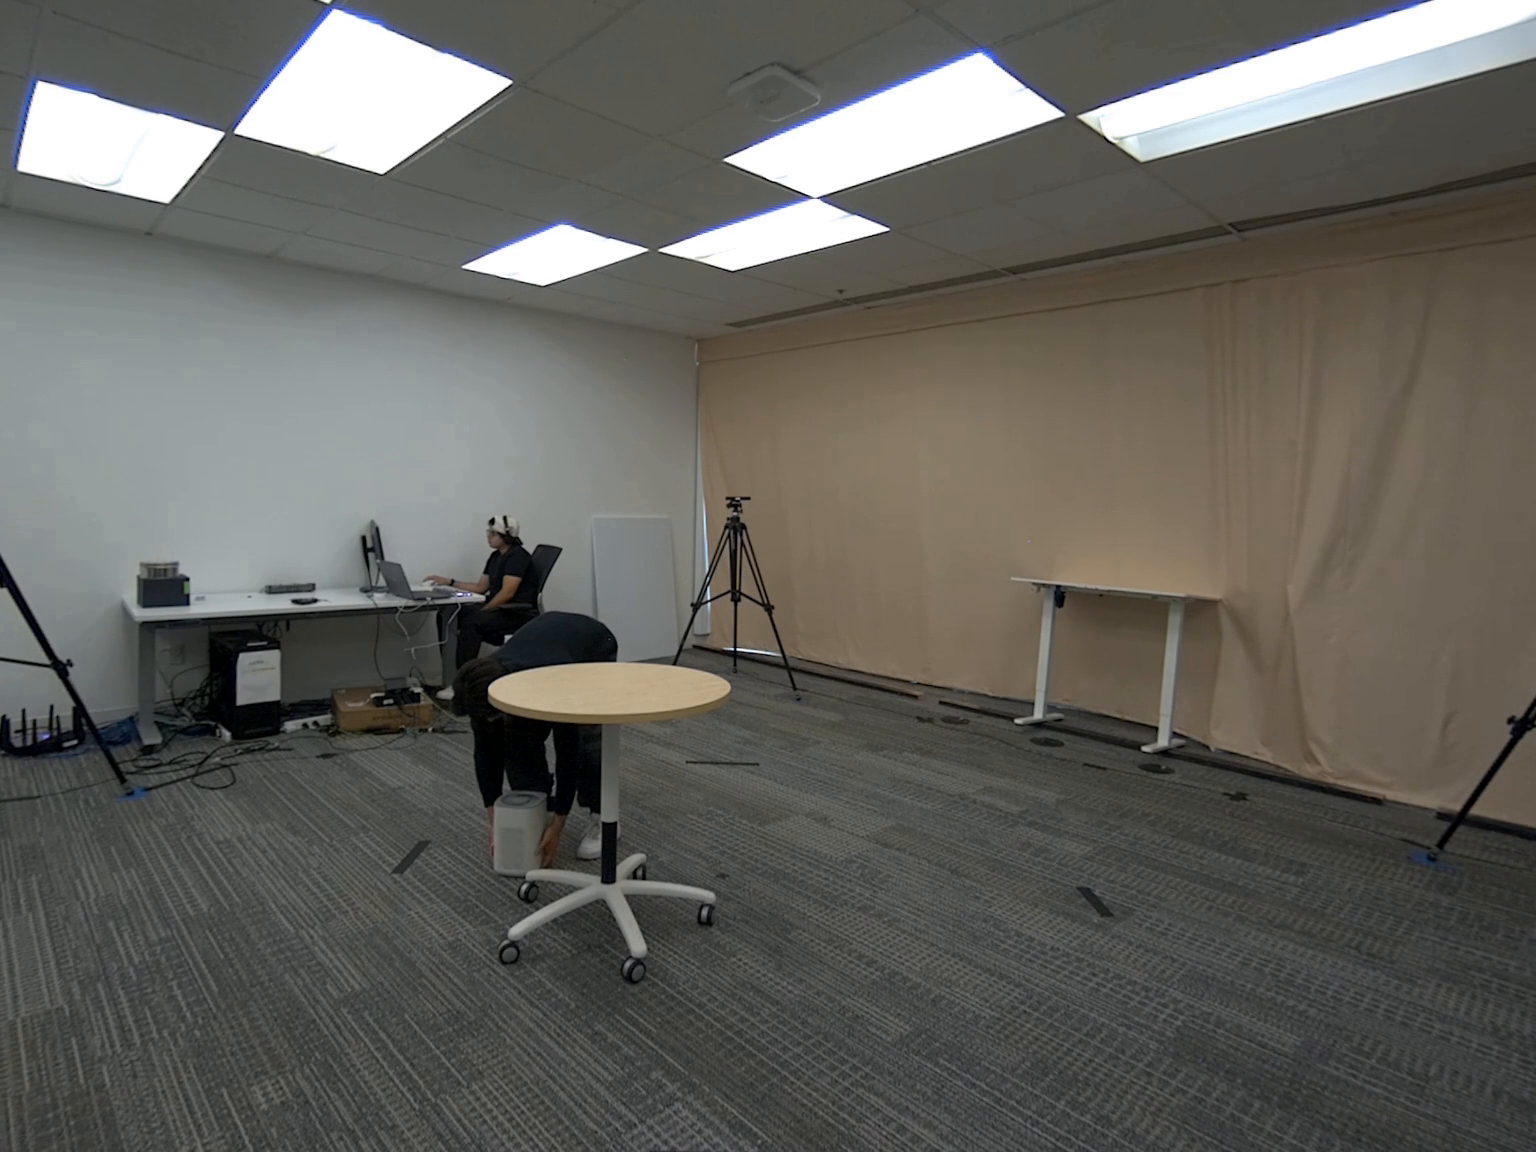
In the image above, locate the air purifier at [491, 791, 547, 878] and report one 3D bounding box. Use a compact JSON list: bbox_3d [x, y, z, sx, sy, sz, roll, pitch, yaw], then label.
[{"bbox_3d":[-0.916,0.954,3.112,0.172,0.265,0.171,0,4,5],"label":"air purifier"}]
